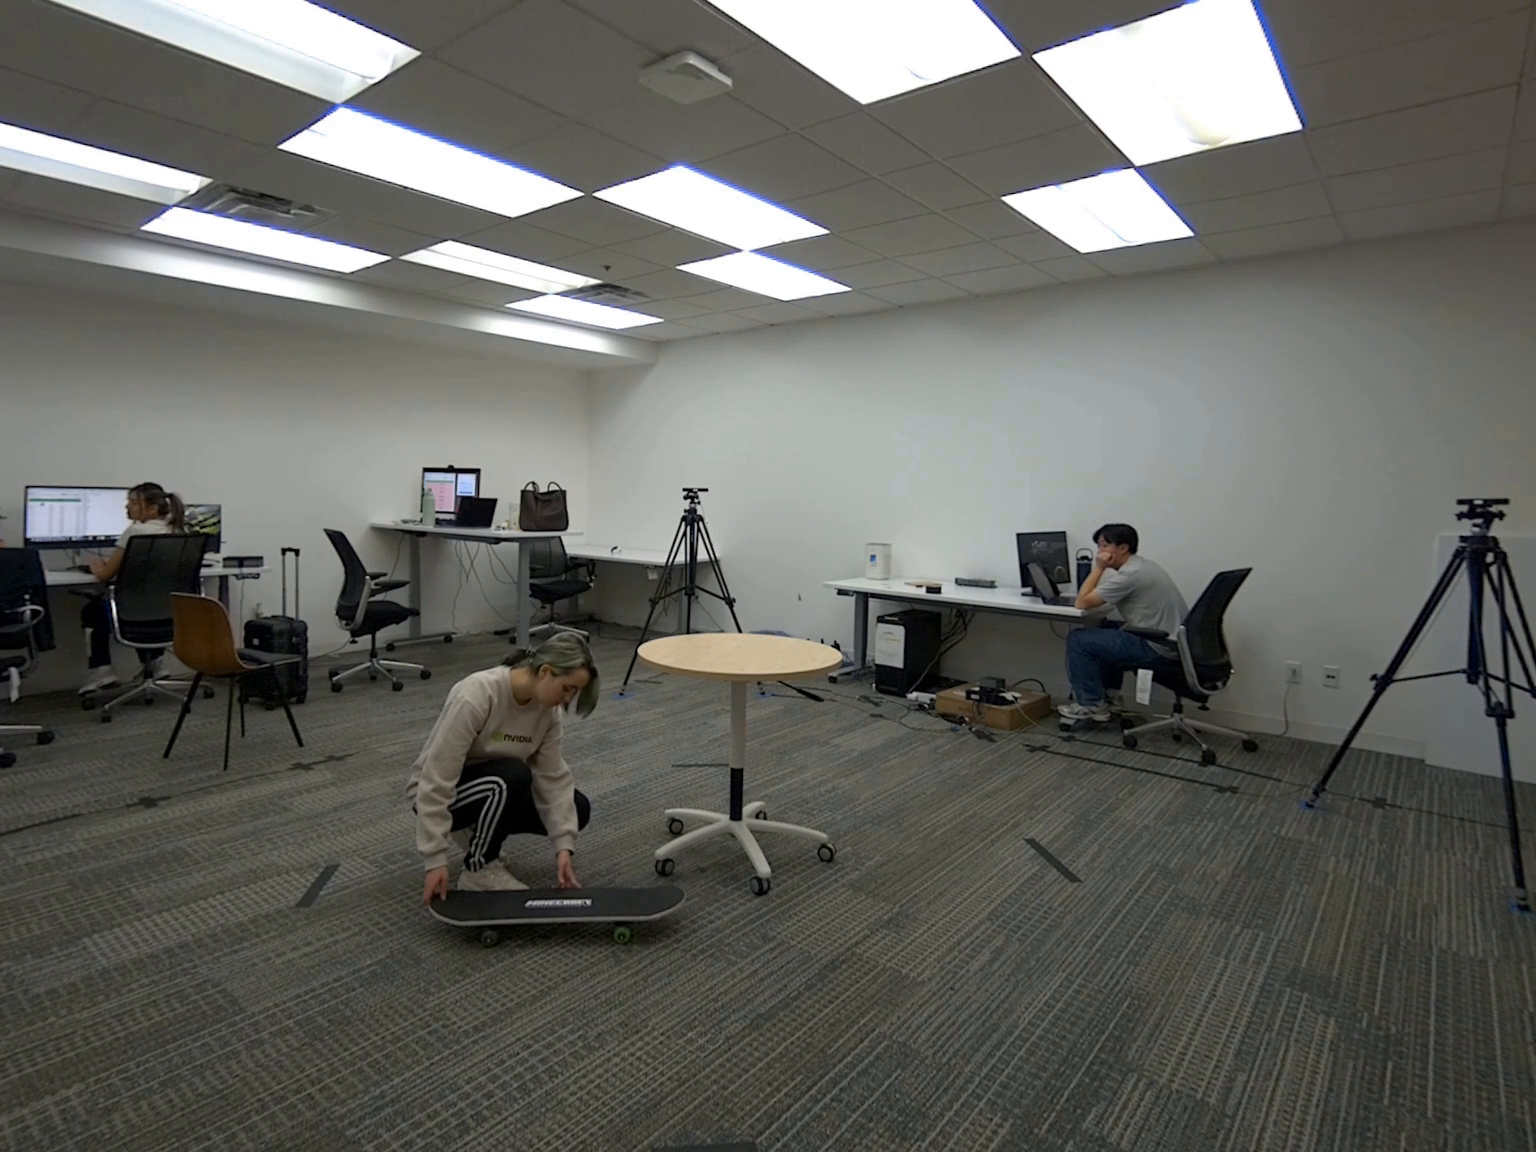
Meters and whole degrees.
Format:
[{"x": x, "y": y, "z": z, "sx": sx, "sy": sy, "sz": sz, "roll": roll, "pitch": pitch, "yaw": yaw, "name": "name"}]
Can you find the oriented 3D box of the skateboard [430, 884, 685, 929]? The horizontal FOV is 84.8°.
[{"x": -0.651, "y": 1.049, "z": 2.658, "sx": 0.781, "sy": 0.110, "sz": 0.195, "roll": -1, "pitch": 5, "yaw": -5, "name": "skateboard"}]
